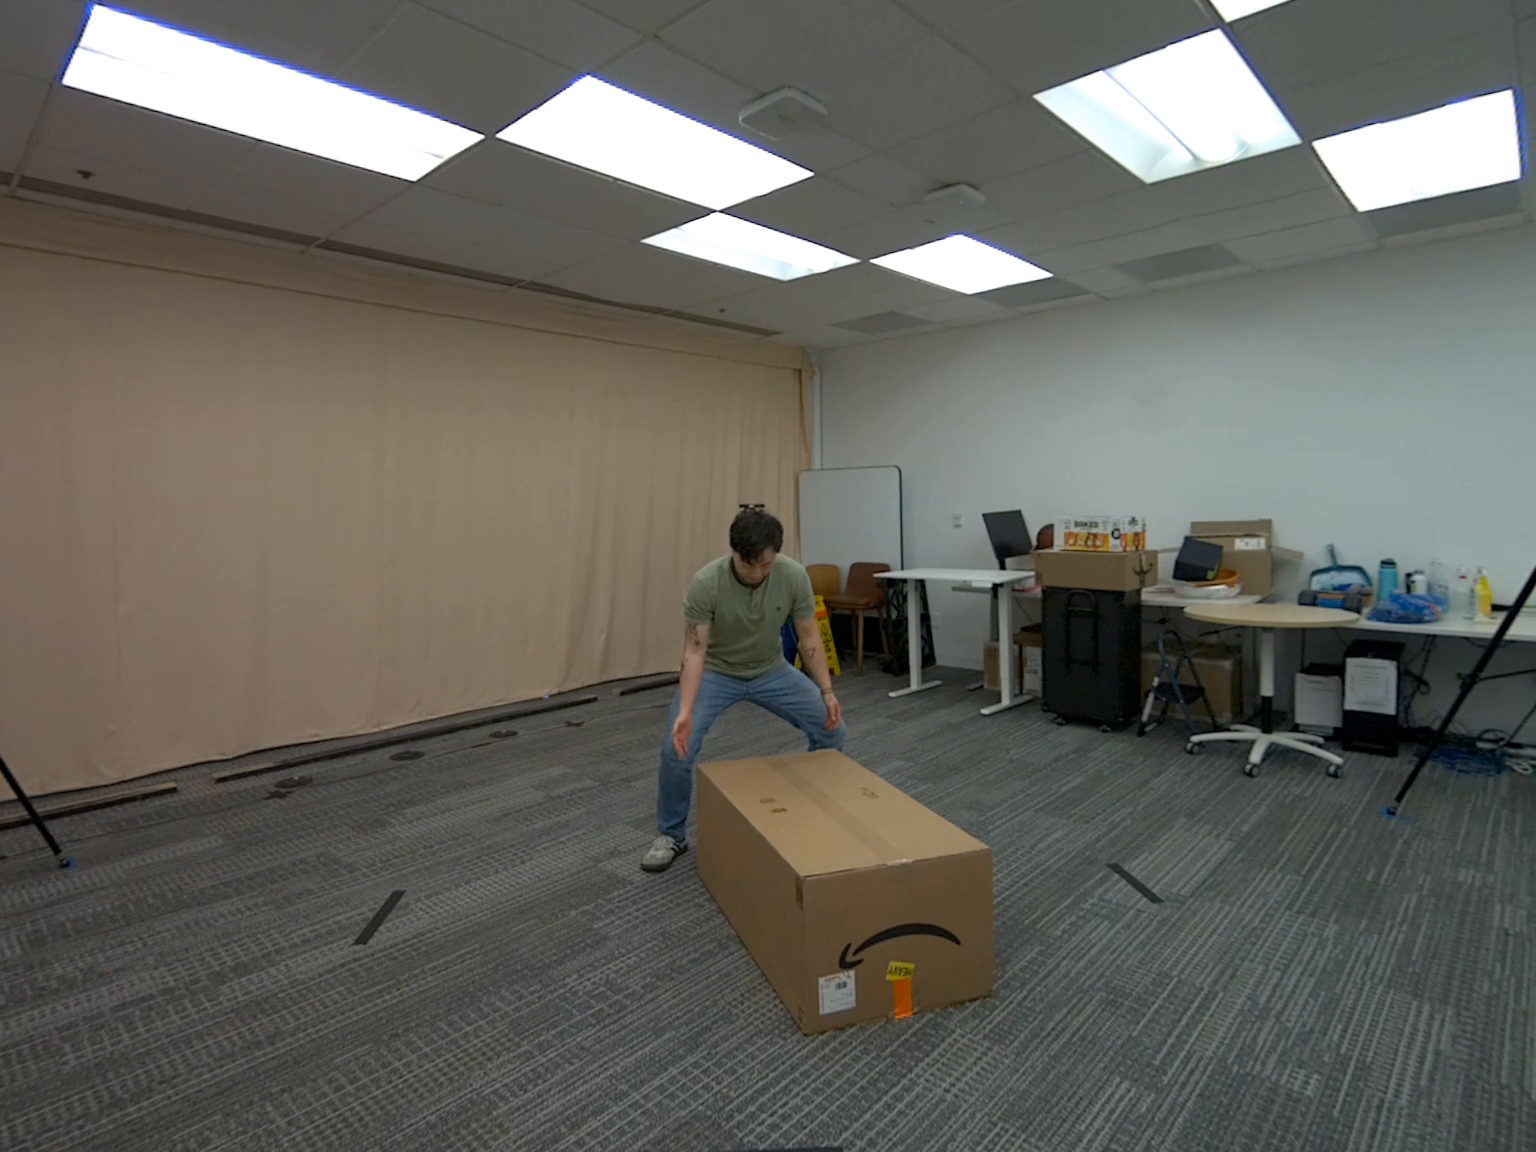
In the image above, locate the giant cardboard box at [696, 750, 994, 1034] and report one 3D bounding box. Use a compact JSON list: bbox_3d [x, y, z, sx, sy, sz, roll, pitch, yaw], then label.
[{"bbox_3d":[0.187,0.944,2.752,0.567,0.425,1.048,-2,5,-19],"label":"giant cardboard box"}]
